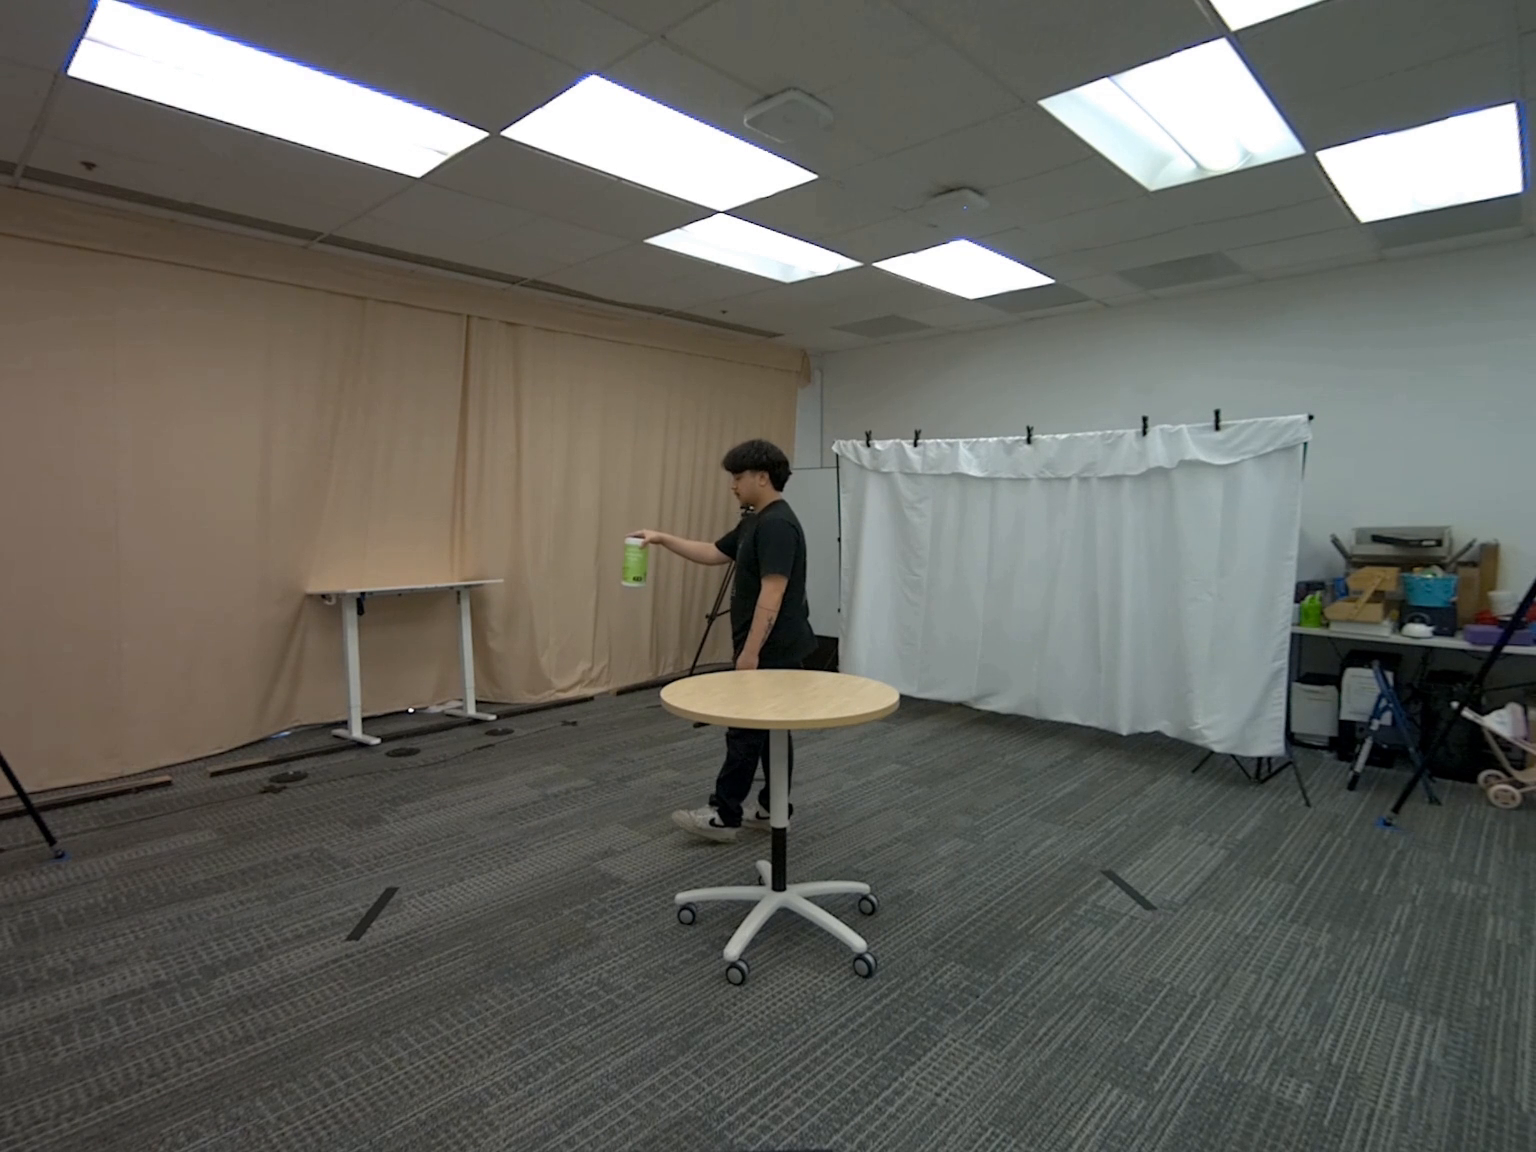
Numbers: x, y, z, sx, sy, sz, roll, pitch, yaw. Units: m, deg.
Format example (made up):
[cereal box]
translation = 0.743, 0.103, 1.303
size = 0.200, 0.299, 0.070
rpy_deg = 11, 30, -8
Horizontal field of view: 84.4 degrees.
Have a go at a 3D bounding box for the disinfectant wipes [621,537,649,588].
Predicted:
[disinfectant wipes]
translation = -0.586, -0.057, 3.725
size = 0.117, 0.217, 0.118
rpy_deg = 5, 3, -2
